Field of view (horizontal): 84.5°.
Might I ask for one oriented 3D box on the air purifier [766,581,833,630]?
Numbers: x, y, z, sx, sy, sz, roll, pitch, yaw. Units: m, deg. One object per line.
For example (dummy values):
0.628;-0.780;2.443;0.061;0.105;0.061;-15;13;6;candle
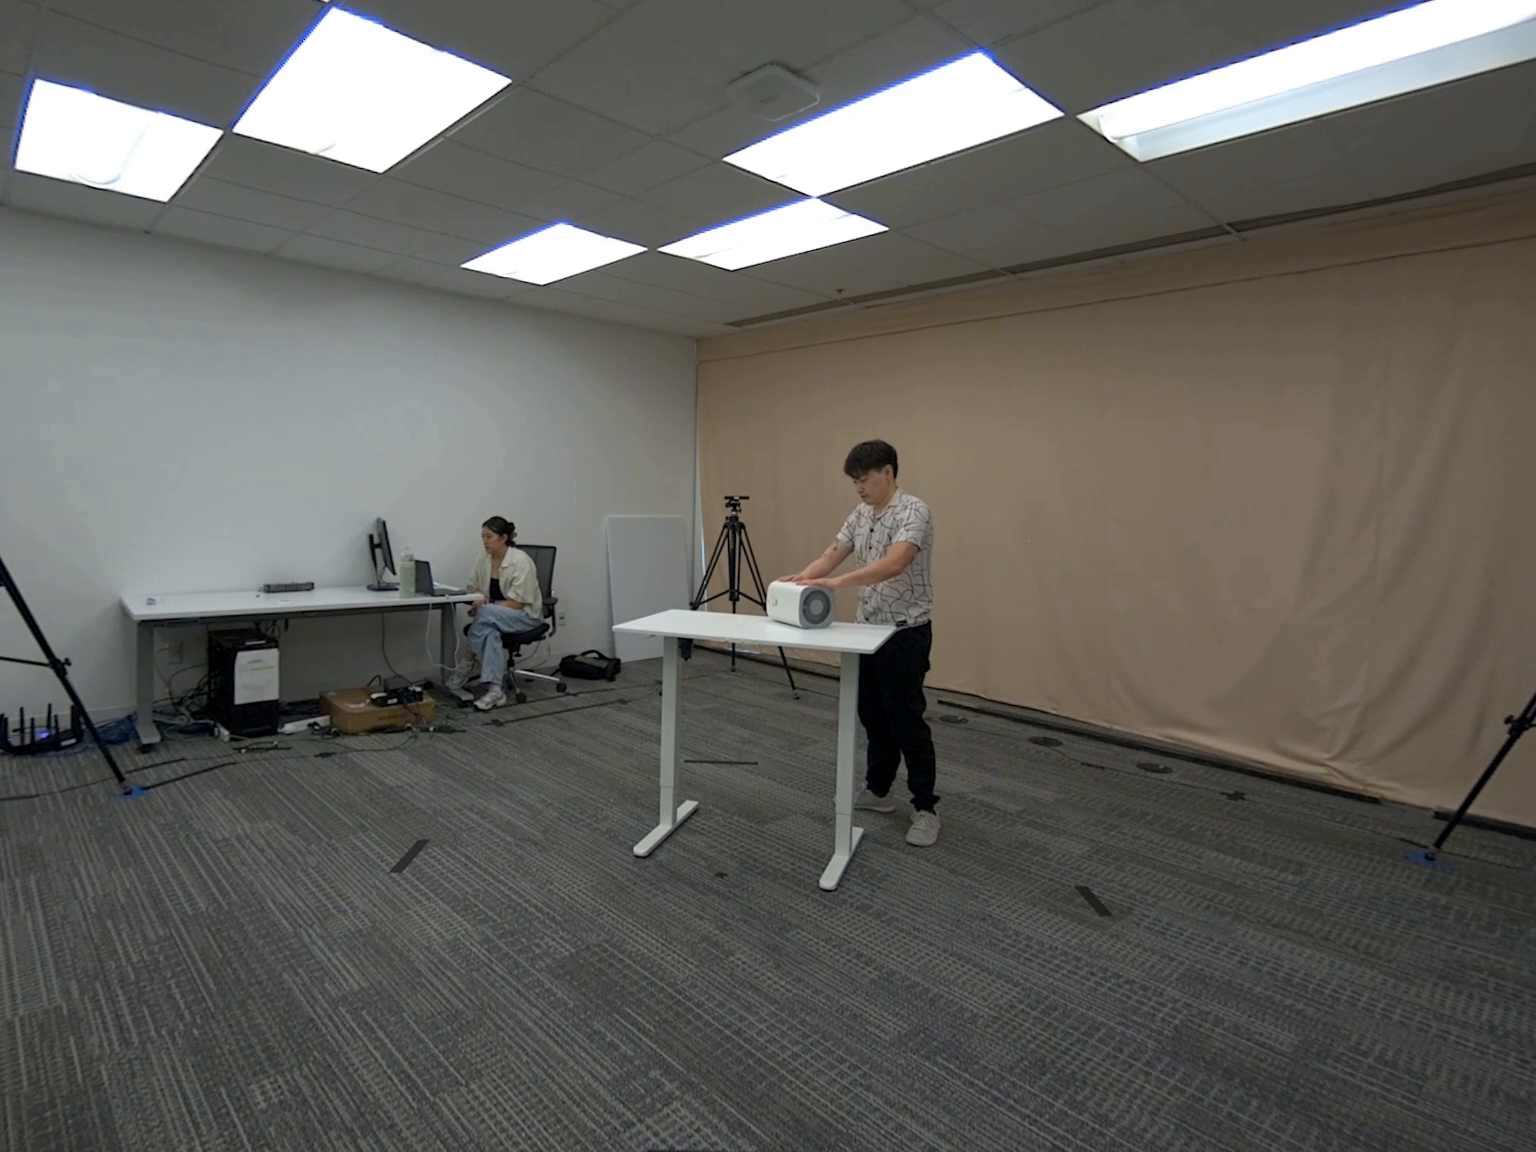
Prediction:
0.116;0.110;3.449;0.168;0.171;0.271;1;4;-31;air purifier
